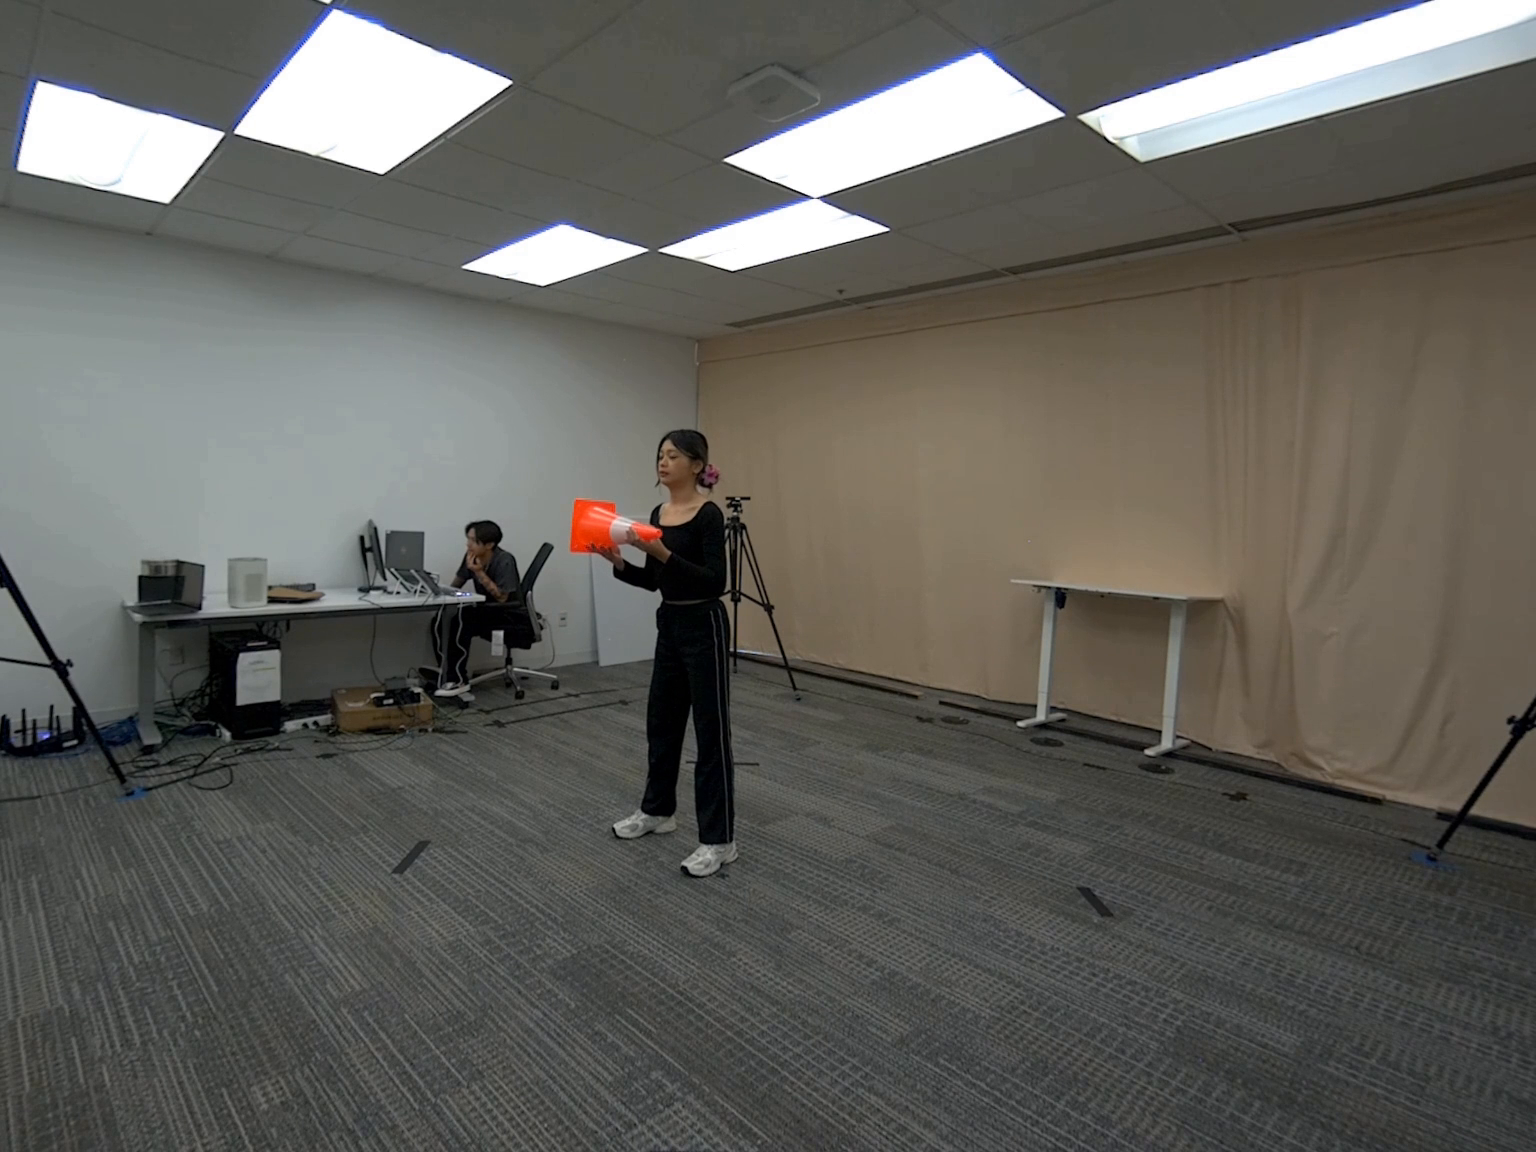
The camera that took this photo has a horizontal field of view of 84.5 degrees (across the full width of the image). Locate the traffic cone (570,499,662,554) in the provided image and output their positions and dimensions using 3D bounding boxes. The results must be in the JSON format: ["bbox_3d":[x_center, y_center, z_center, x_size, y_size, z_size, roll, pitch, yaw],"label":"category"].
[{"bbox_3d":[-0.518,-0.165,3.040,0.394,0.205,0.198,7,1,44],"label":"traffic cone"}]
